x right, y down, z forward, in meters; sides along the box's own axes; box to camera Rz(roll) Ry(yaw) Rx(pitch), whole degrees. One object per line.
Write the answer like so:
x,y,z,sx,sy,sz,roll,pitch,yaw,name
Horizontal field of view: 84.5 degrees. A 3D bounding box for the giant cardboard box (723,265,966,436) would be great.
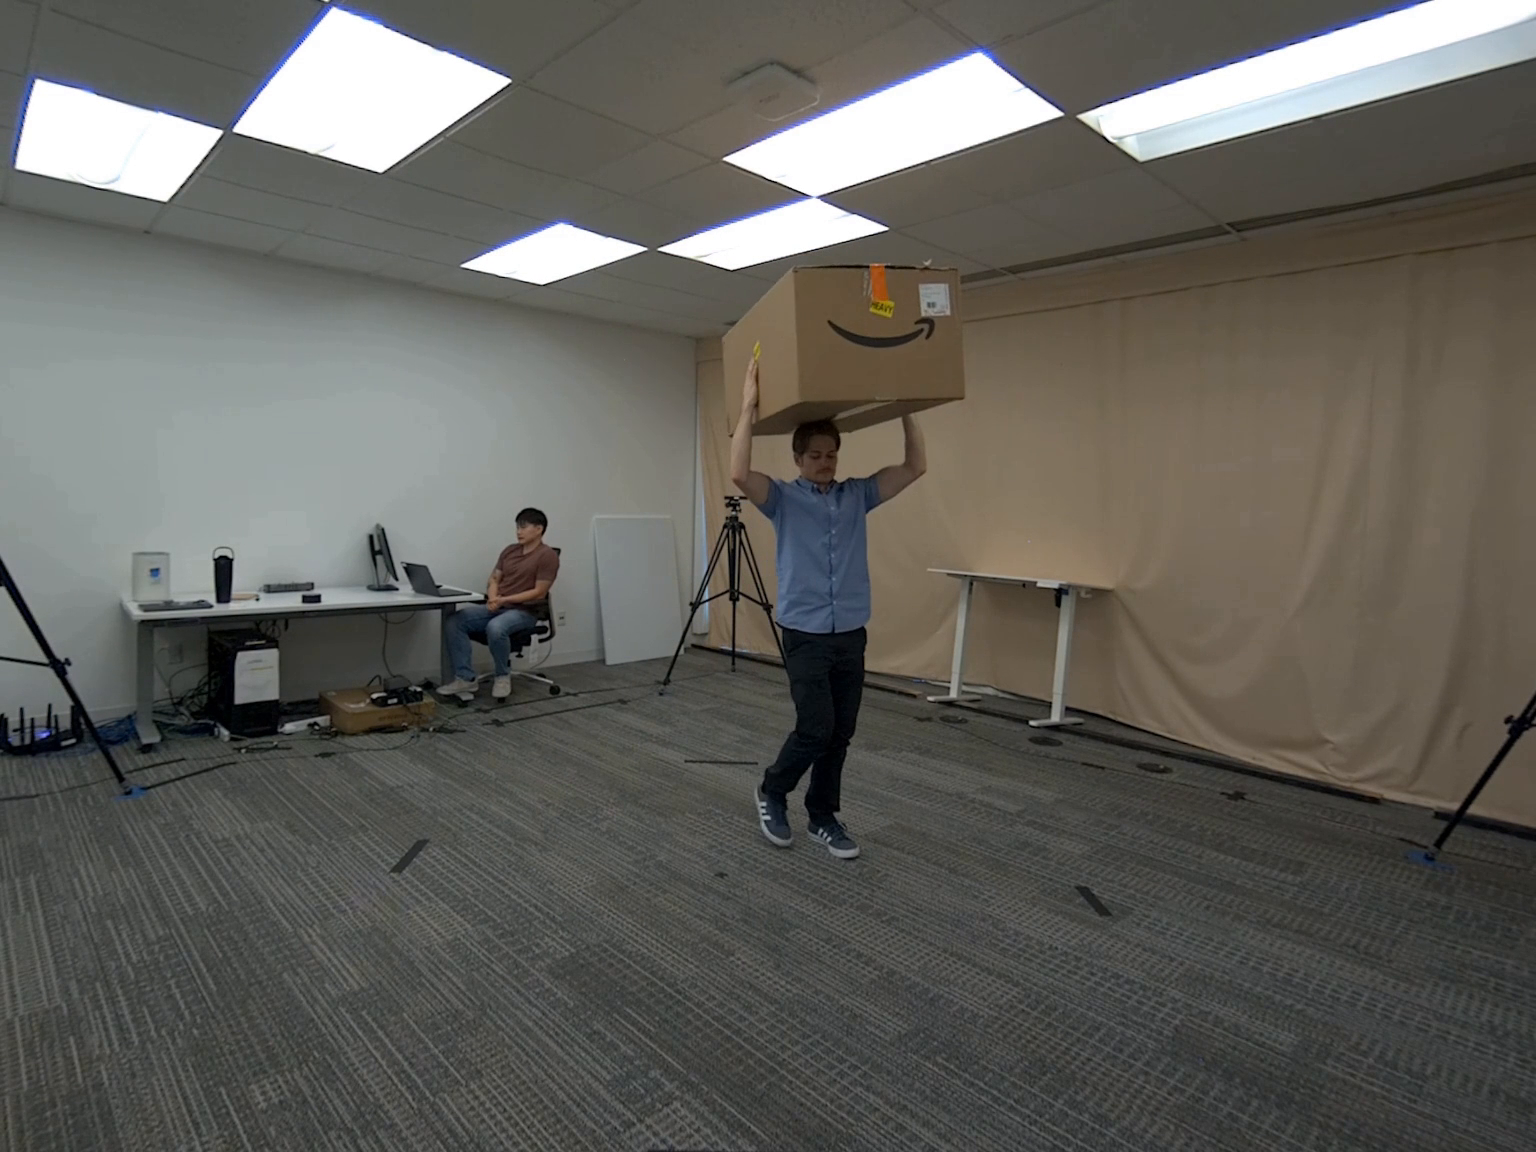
0.216,-0.800,3.165,0.572,0.425,1.038,-4,4,-15,giant cardboard box
